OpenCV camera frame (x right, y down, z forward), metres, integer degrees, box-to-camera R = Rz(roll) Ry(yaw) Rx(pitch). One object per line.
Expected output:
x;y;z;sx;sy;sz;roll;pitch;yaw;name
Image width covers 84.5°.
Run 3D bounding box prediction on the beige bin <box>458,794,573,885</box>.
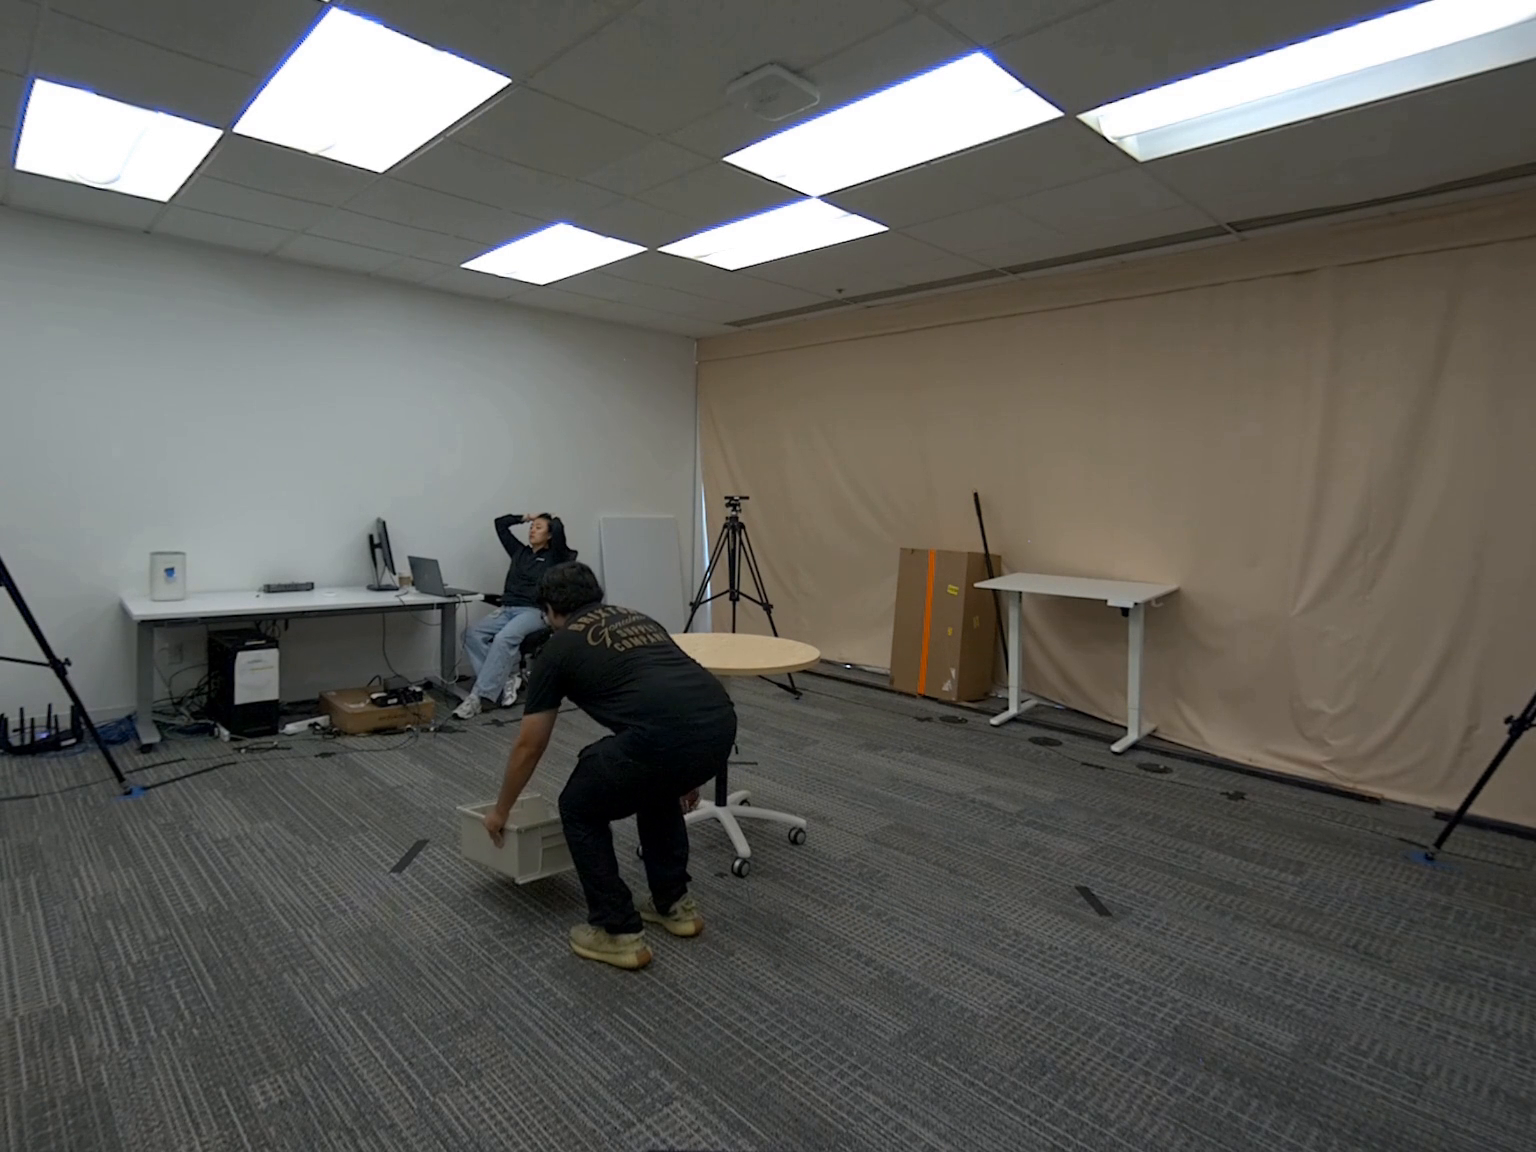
-0.828;0.896;2.930;0.368;0.189;0.432;-1;0;-43;beige bin
